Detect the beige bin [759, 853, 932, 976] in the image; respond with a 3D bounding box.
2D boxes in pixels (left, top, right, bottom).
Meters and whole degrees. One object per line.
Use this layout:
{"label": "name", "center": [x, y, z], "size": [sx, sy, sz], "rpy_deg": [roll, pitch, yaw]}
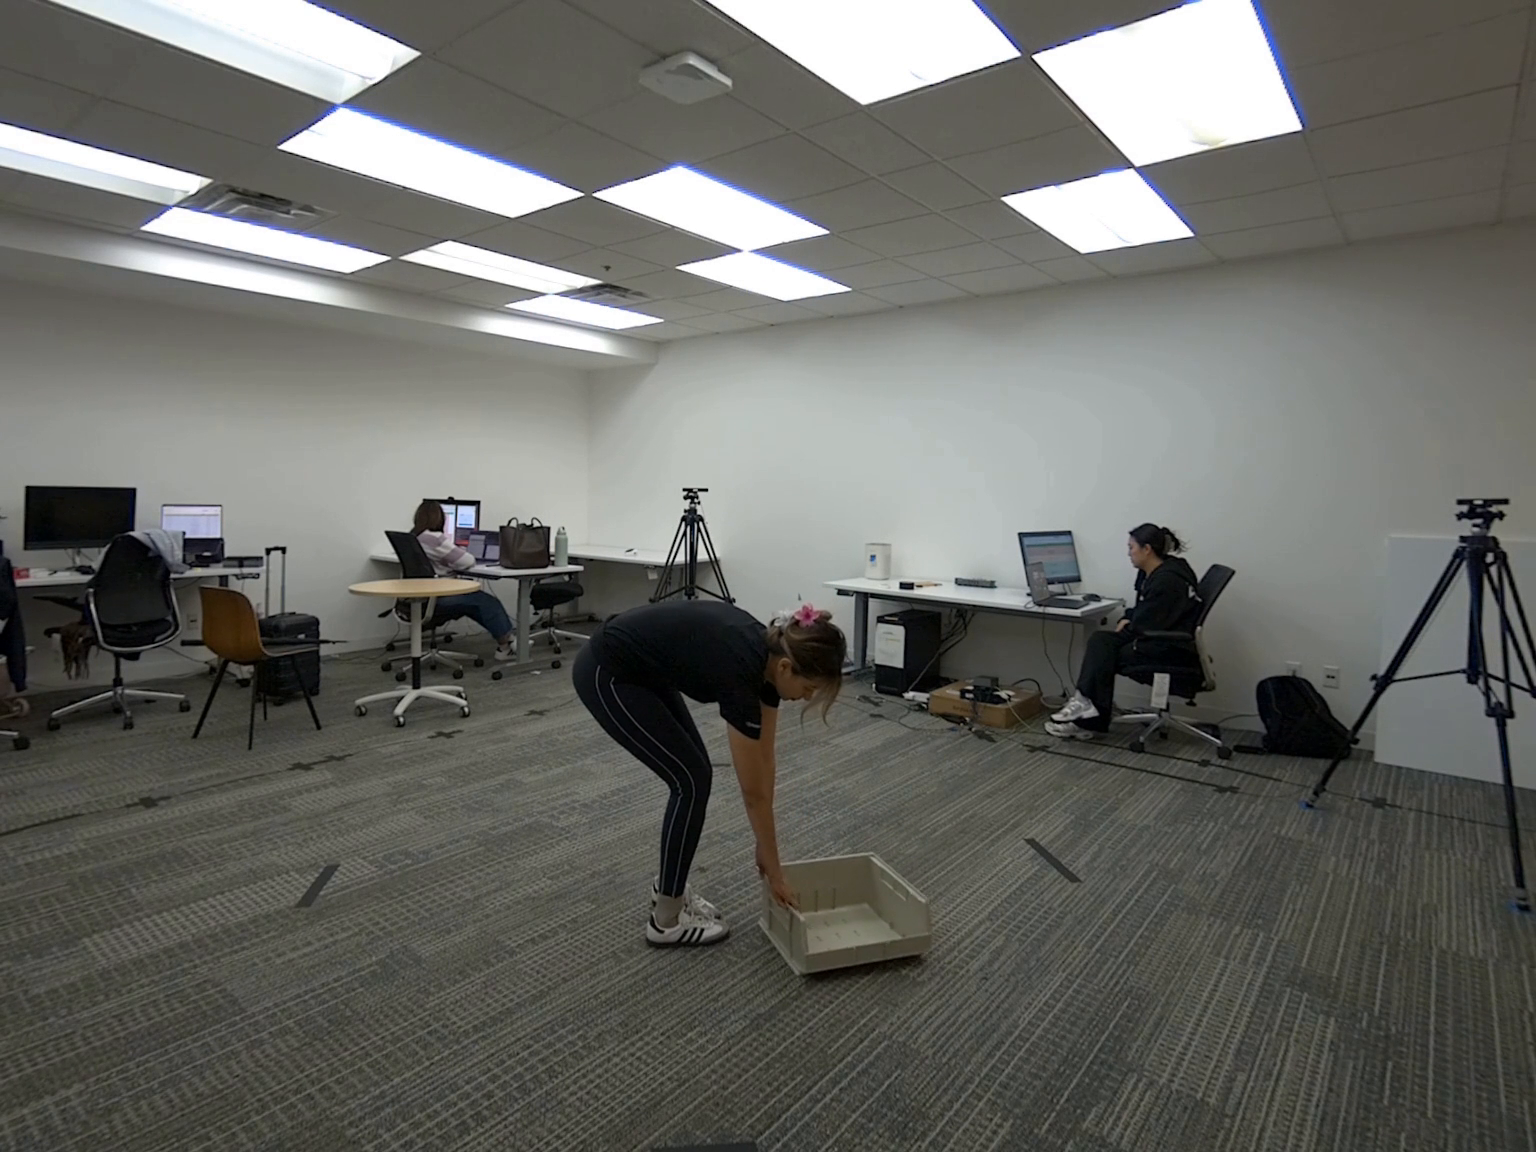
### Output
{"label": "beige bin", "center": [0.225, 1.041, 2.616], "size": [0.414, 0.188, 0.386], "rpy_deg": [-1, 5, -20]}
